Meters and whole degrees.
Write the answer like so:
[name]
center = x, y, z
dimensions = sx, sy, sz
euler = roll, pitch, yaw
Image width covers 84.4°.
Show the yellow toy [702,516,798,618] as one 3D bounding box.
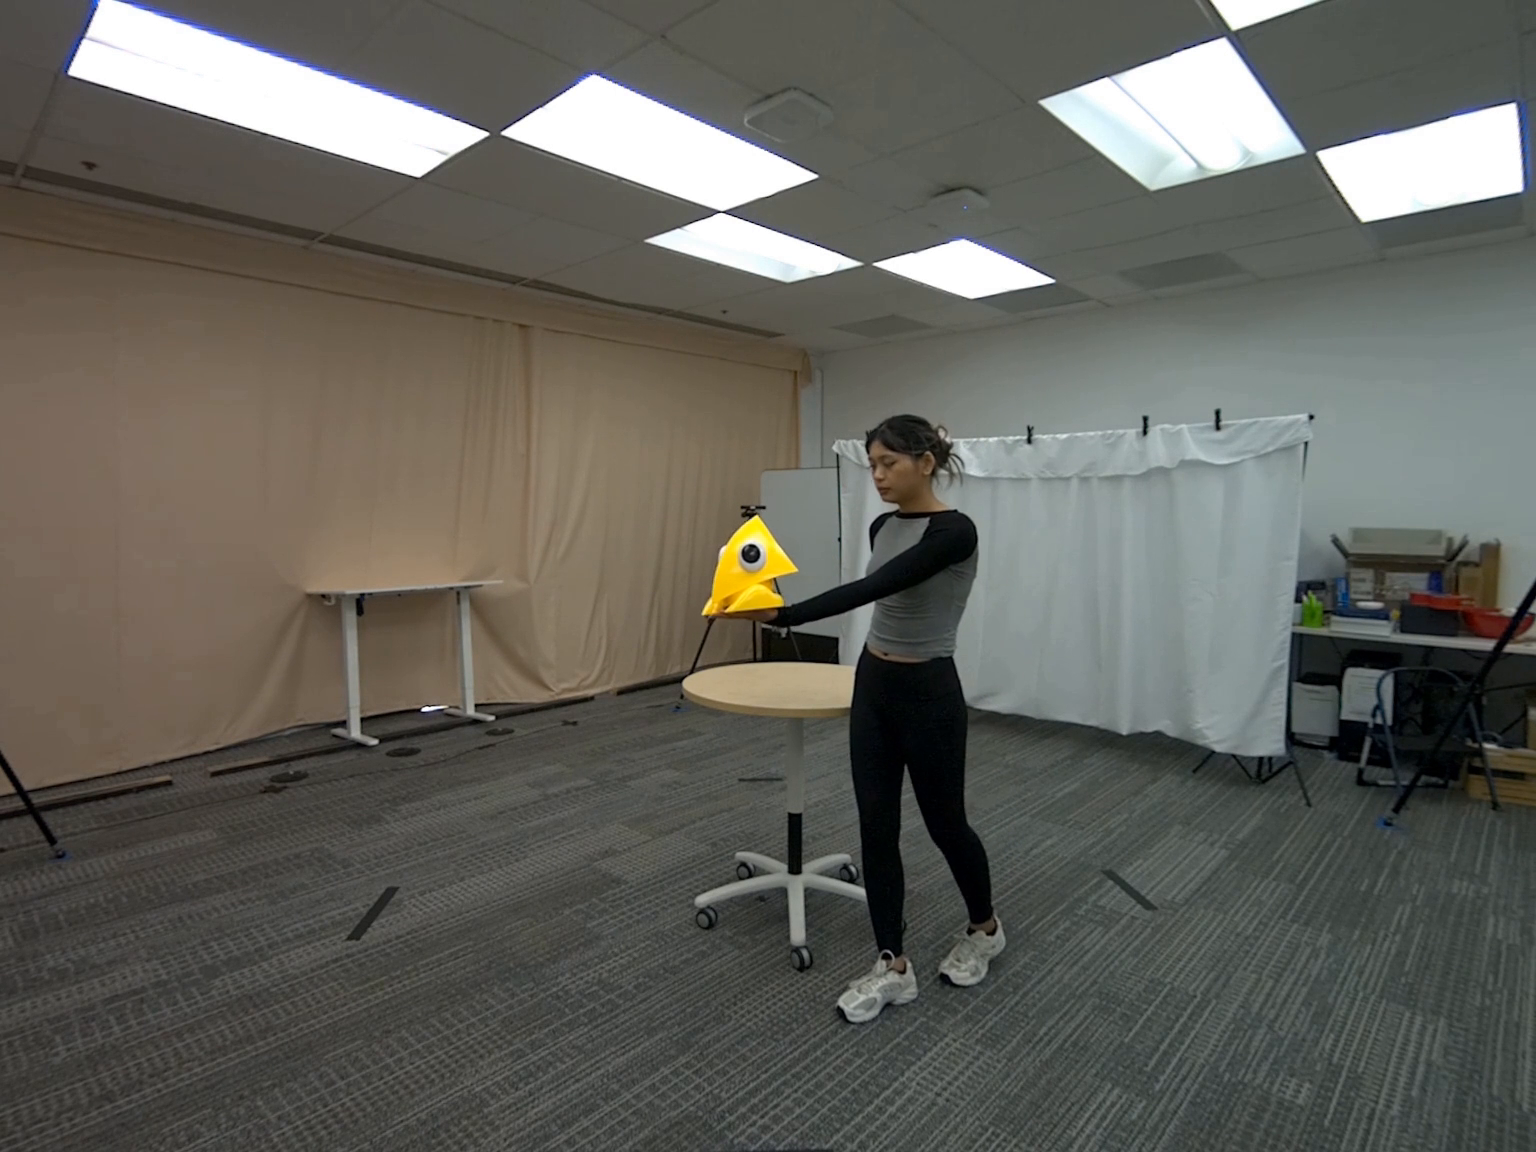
[yellow toy]
center = -0.057, -0.030, 2.041
dimensions = 0.188, 0.231, 0.210
euler = -4, -4, -33
